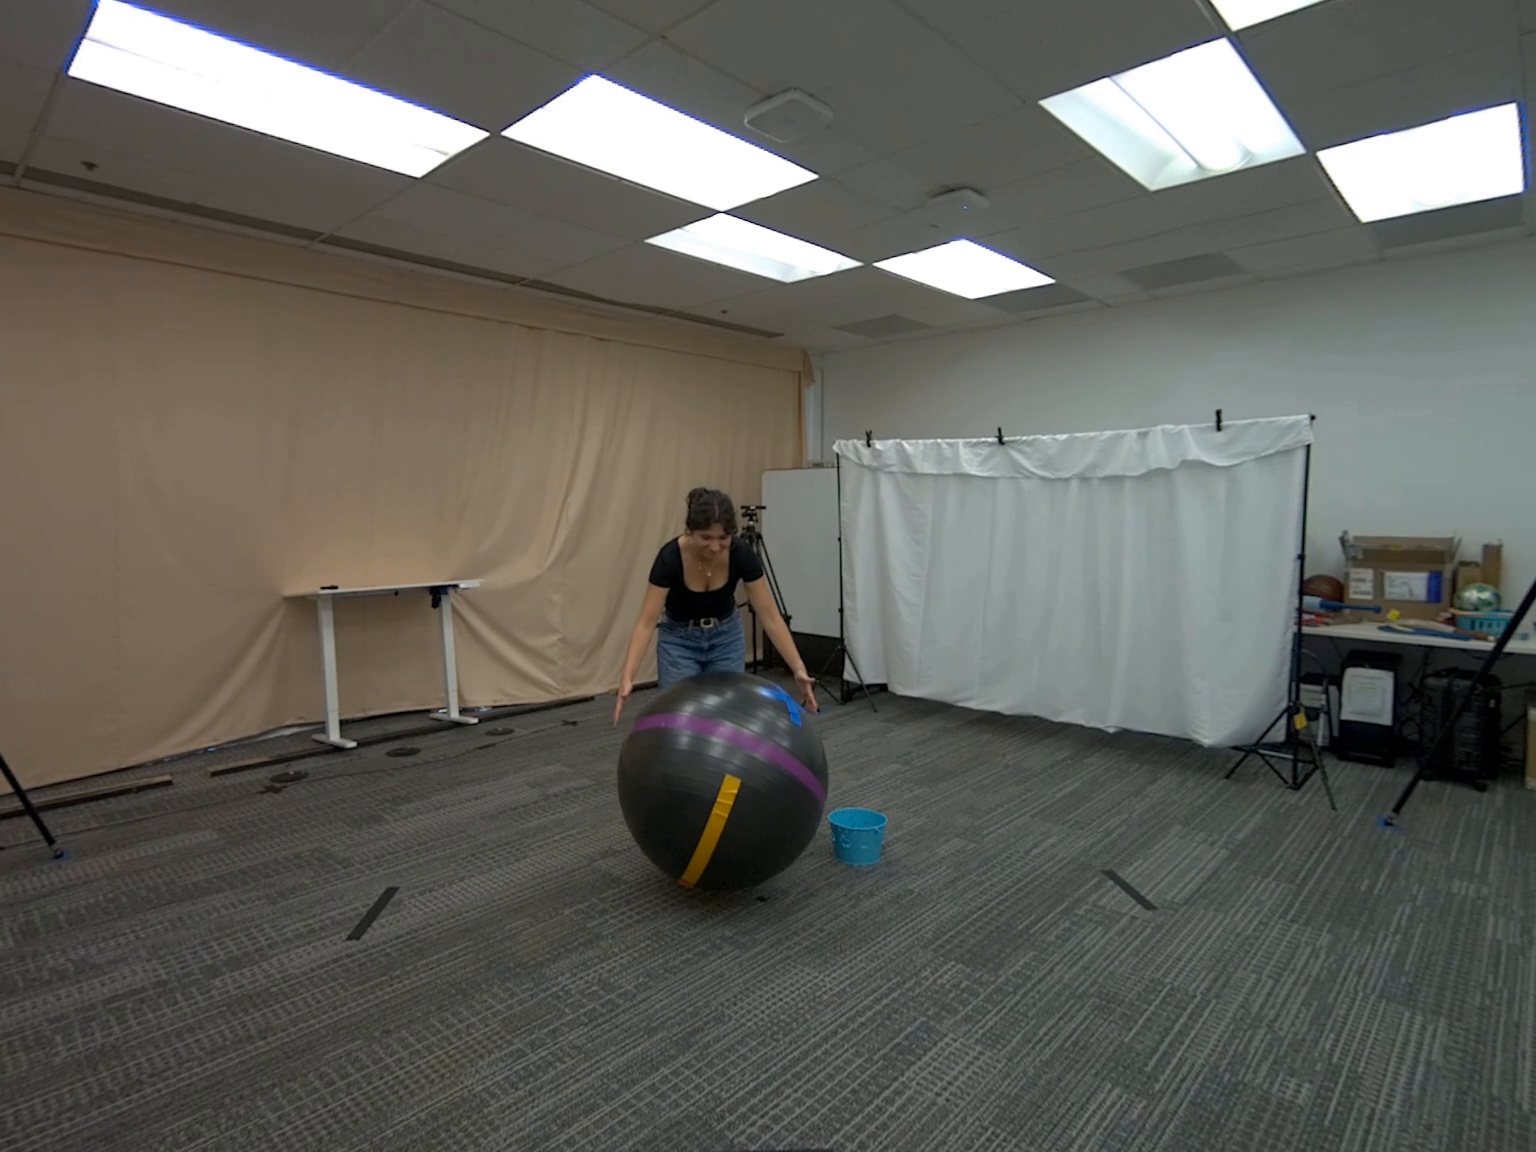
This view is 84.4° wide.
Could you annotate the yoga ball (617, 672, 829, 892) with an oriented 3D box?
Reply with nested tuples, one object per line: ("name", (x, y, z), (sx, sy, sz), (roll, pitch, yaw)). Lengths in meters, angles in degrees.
("yoga ball", (-0.163, 0.721, 3.008), (0.757, 0.756, 0.760), (0, 4, -2))
